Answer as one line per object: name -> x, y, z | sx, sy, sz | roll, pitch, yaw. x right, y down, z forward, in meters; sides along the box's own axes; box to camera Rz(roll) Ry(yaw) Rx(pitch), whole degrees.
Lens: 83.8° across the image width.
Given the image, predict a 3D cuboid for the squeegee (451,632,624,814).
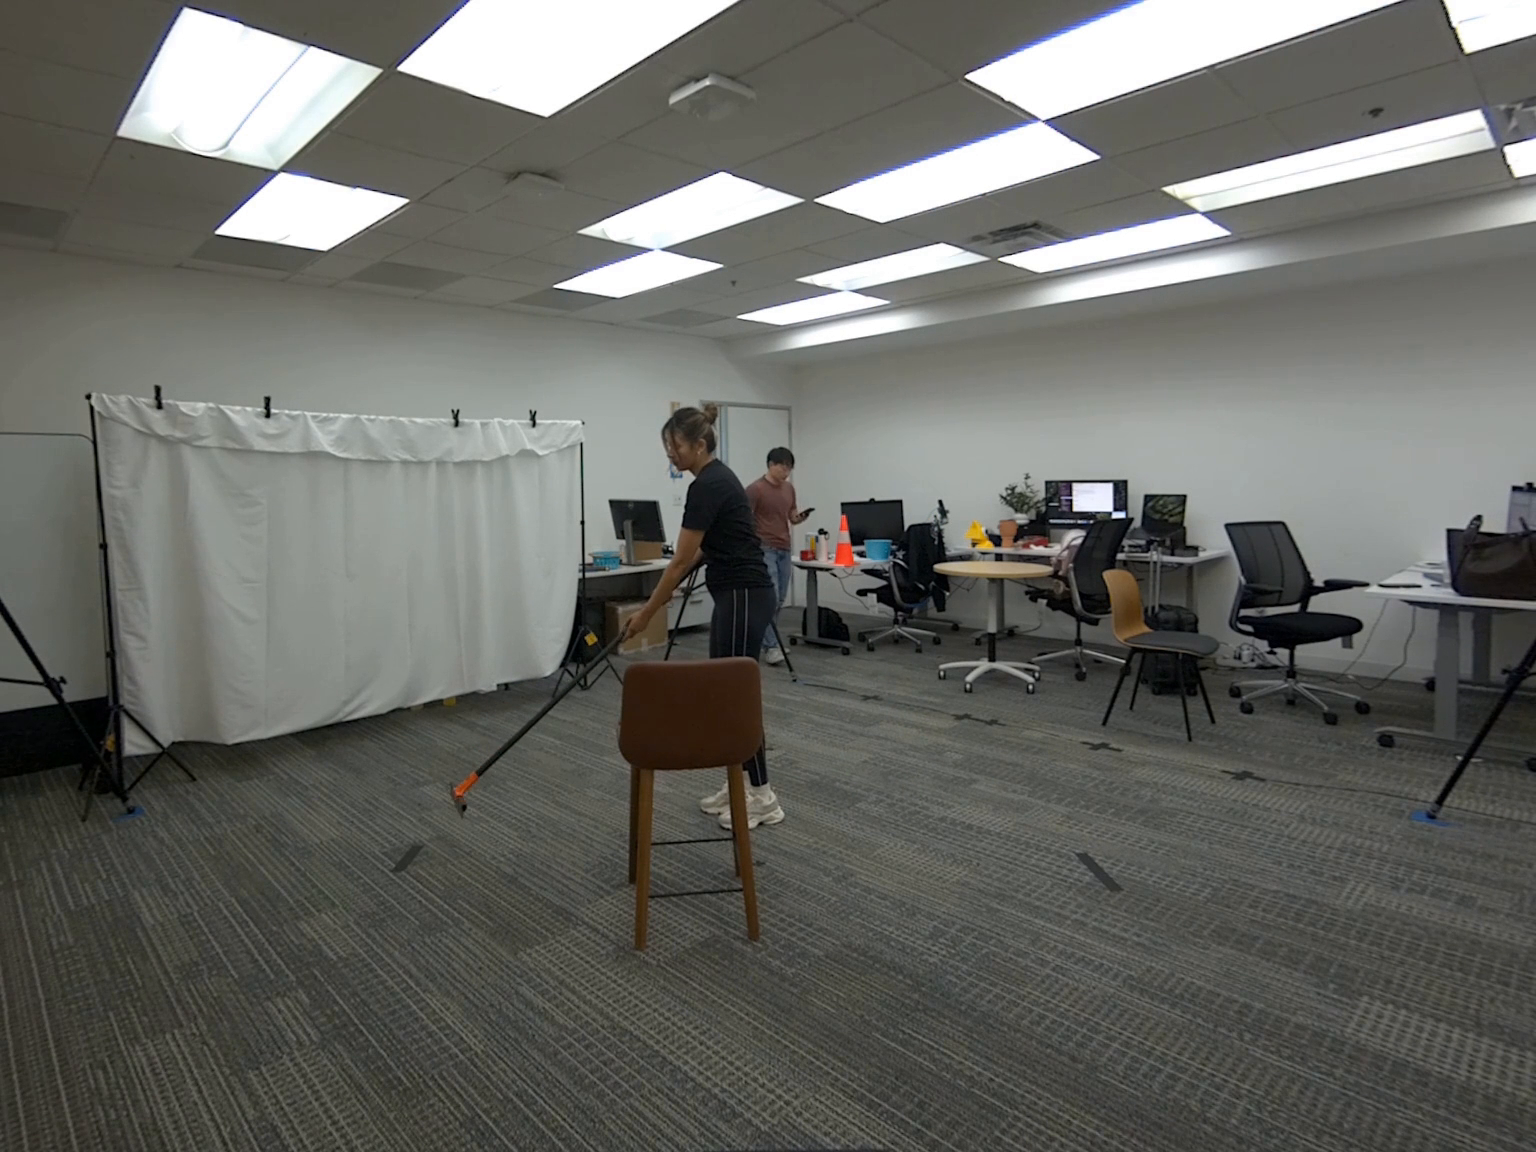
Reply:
squeegee -> -0.670, 0.318, 3.412 | 1.536, 0.052, 0.446 | -46, 18, -22
